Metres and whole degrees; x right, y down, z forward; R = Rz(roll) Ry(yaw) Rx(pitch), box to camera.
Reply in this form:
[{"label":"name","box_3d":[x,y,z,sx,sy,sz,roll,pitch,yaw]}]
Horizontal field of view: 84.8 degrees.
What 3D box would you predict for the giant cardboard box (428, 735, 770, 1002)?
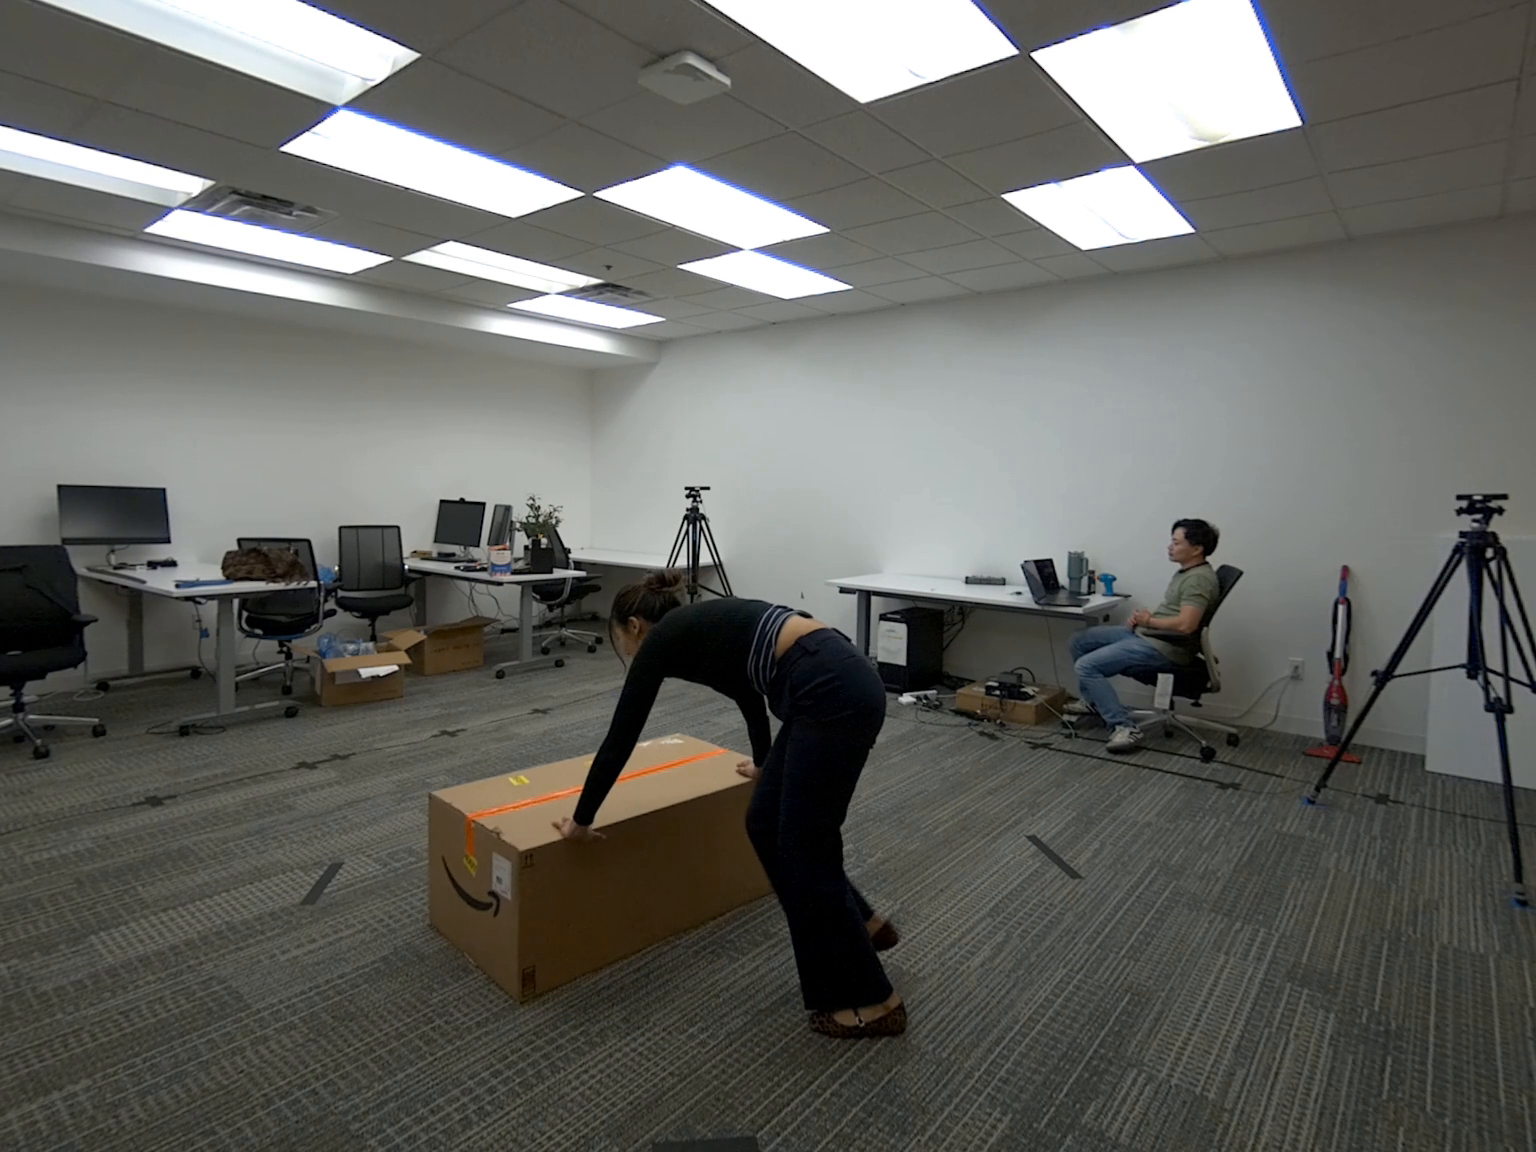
[{"label":"giant cardboard box","box_3d":[-0.522,0.880,2.811,0.995,0.424,0.598,-5,8,-44]}]
